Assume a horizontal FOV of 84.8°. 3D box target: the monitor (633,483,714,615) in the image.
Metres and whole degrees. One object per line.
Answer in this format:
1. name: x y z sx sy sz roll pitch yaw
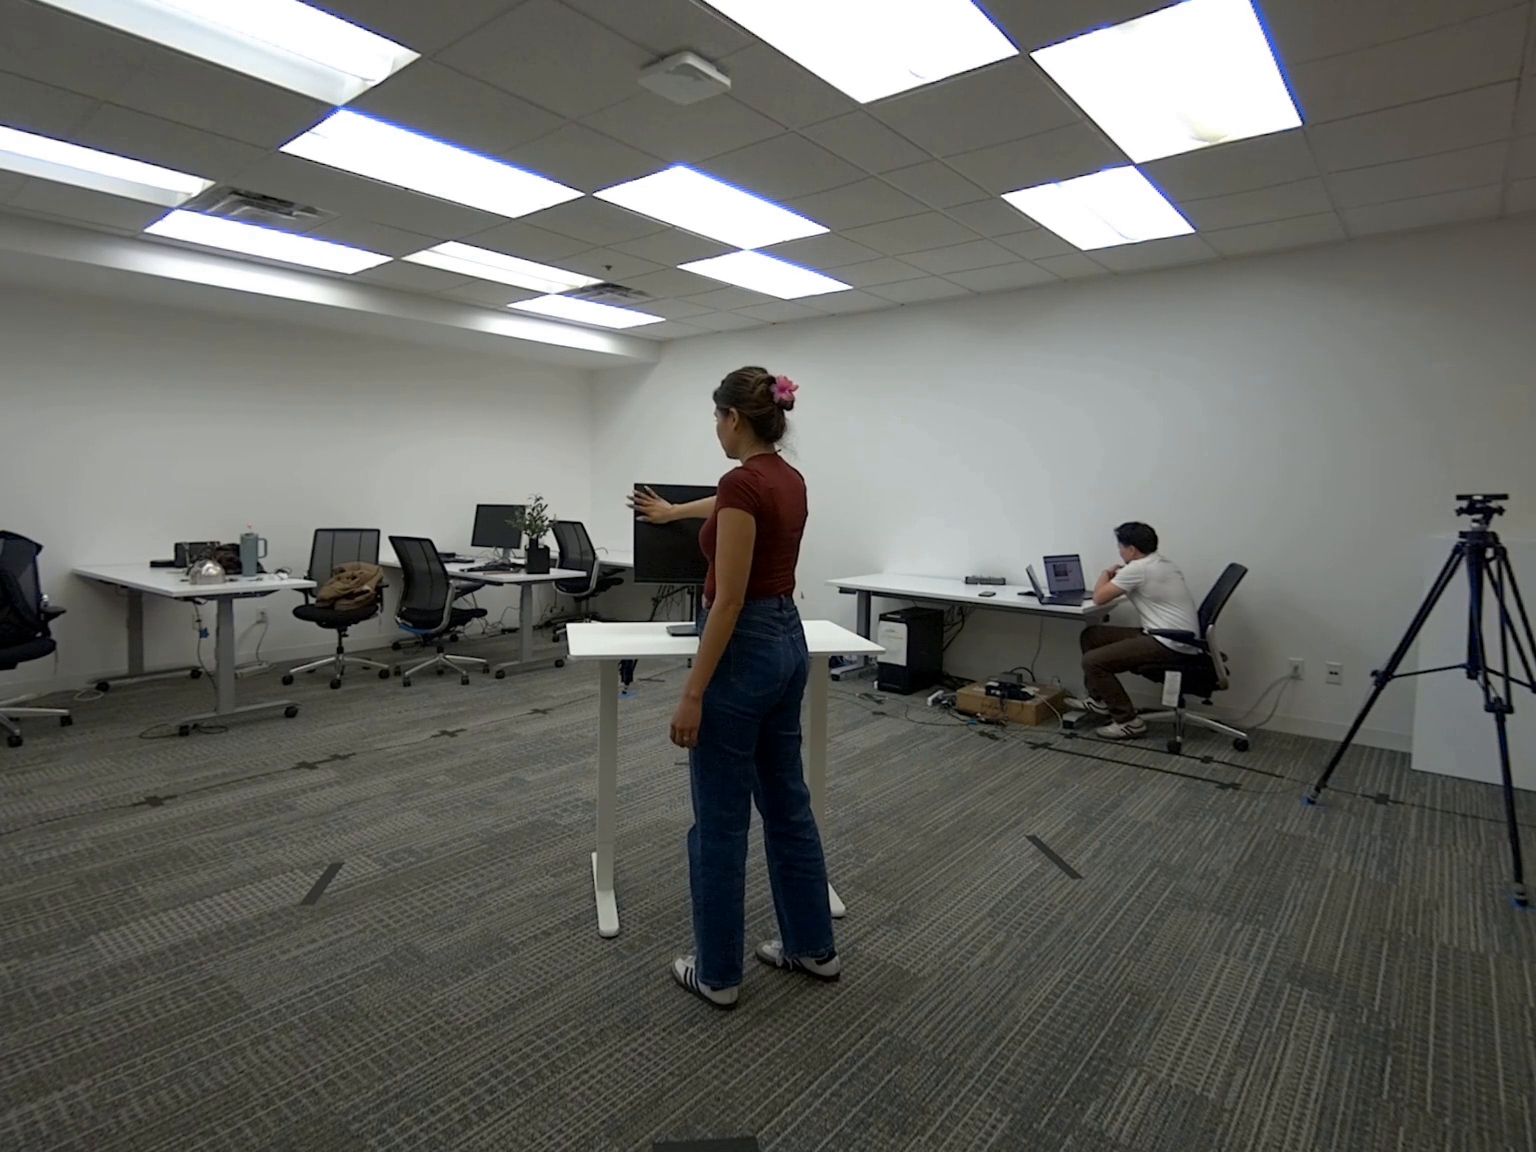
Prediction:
1. monitor: -0.223 -0.058 2.995 0.531 0.522 0.190 0 1 -14
